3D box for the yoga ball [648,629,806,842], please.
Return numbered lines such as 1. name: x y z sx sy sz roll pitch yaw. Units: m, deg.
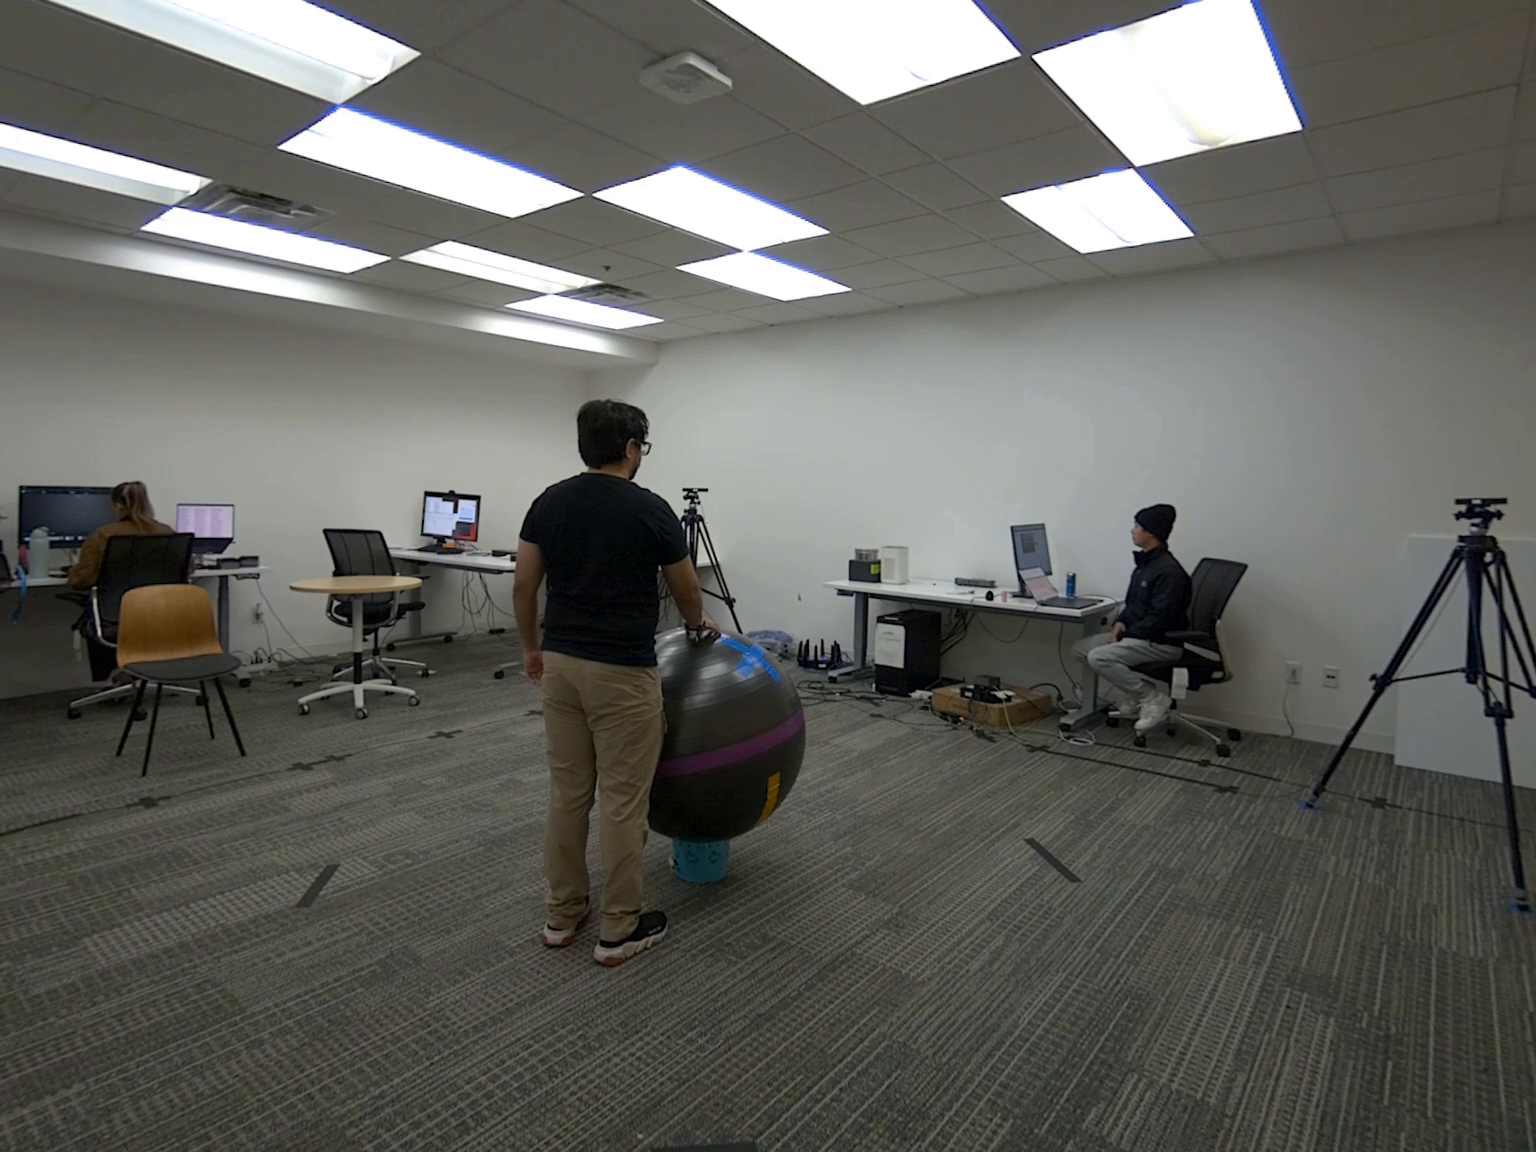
1. yoga ball: -0.261 0.563 3.072 0.757 0.756 0.762 1 4 -2
